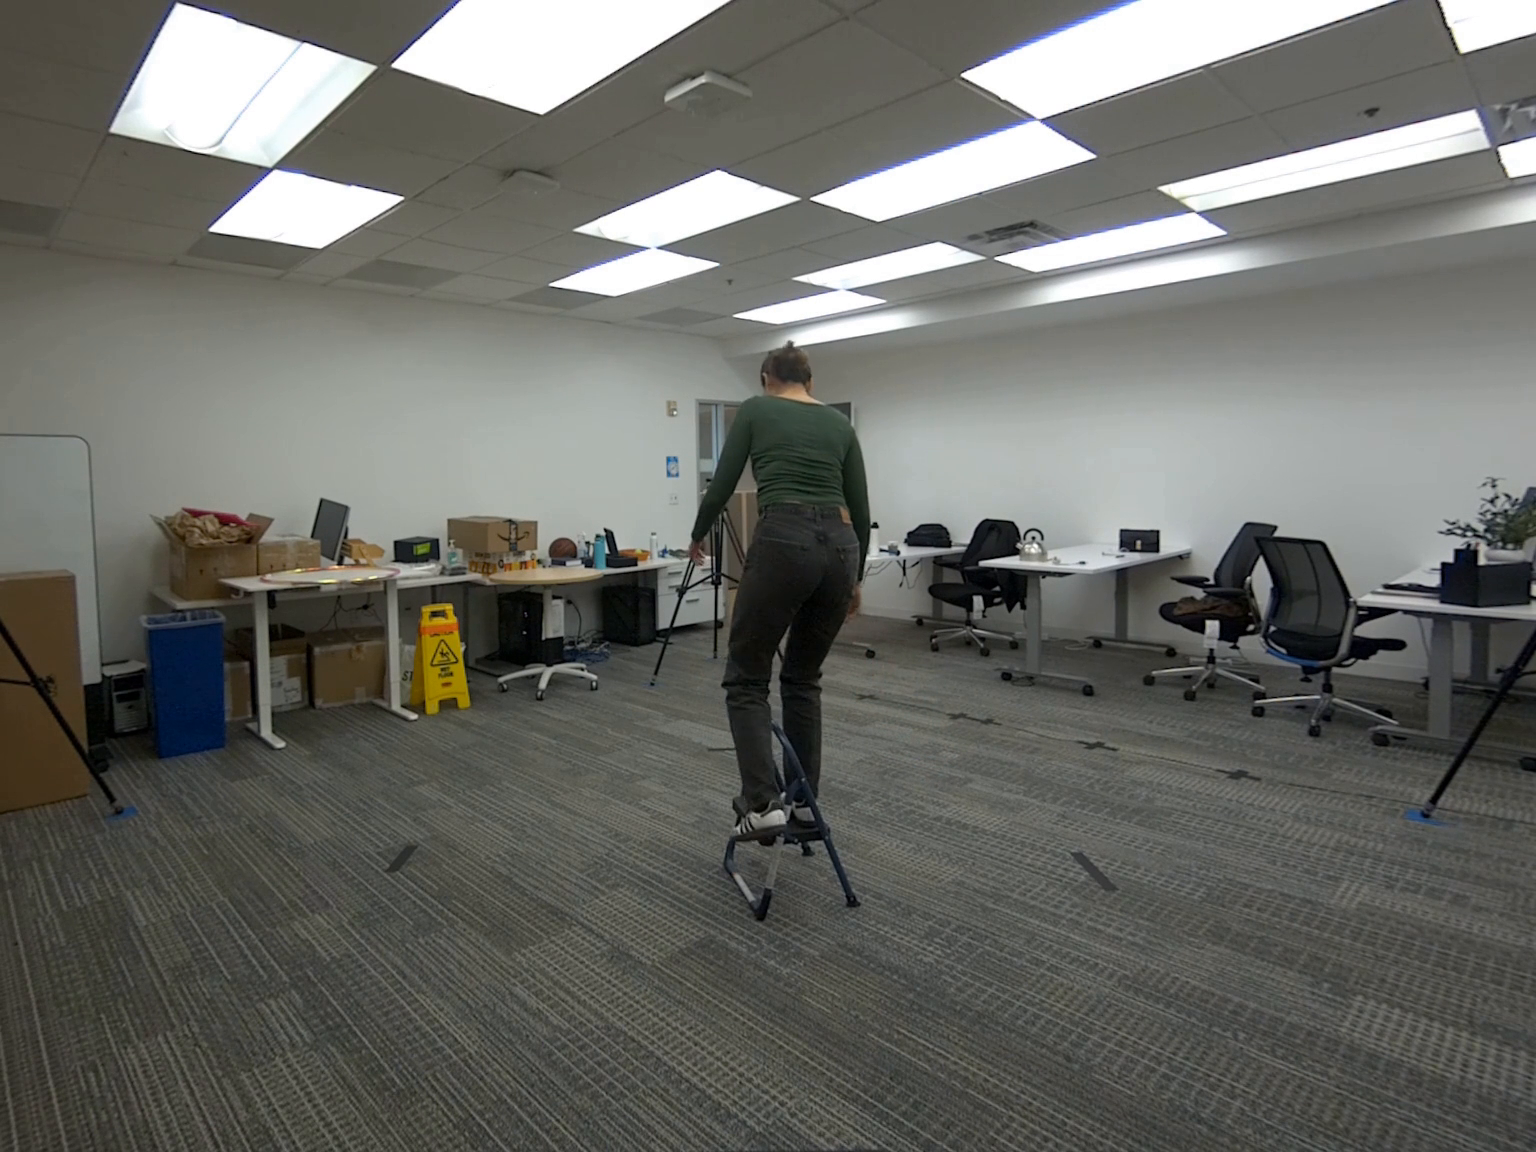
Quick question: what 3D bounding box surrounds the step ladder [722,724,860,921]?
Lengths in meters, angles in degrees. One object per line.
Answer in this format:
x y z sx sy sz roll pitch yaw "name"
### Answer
0.062 0.761 2.925 0.344 0.604 0.439 -3 5 -18 "step ladder"
